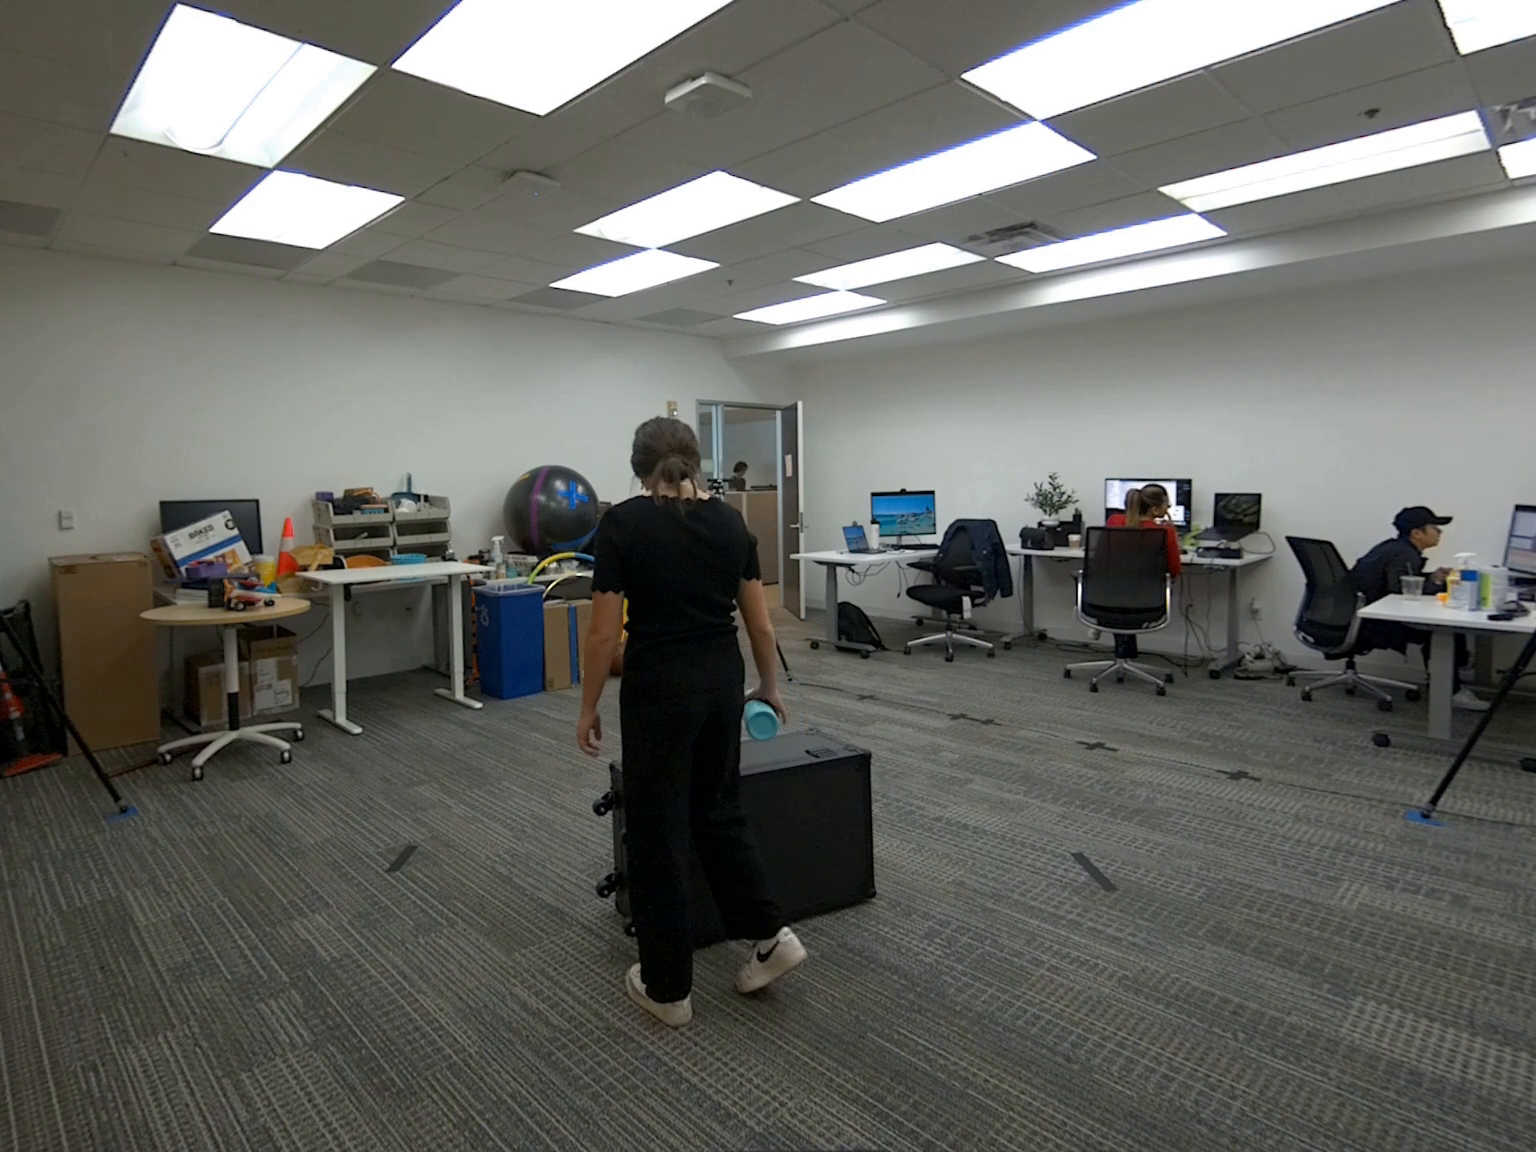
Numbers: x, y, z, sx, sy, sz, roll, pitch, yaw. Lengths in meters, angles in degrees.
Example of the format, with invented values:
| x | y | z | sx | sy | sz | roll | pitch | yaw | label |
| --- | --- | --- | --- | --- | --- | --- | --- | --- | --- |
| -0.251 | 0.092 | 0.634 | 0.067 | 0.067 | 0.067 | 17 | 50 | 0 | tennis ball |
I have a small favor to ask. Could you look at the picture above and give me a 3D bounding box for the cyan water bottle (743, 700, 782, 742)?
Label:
| x | y | z | sx | sy | sz | roll | pitch | yaw | label |
| --- | --- | --- | --- | --- | --- | --- | --- | --- | --- |
| -0.024 | 0.401 | 2.493 | 0.092 | 0.092 | 0.285 | -1 | 4 | -7 | cyan water bottle |
